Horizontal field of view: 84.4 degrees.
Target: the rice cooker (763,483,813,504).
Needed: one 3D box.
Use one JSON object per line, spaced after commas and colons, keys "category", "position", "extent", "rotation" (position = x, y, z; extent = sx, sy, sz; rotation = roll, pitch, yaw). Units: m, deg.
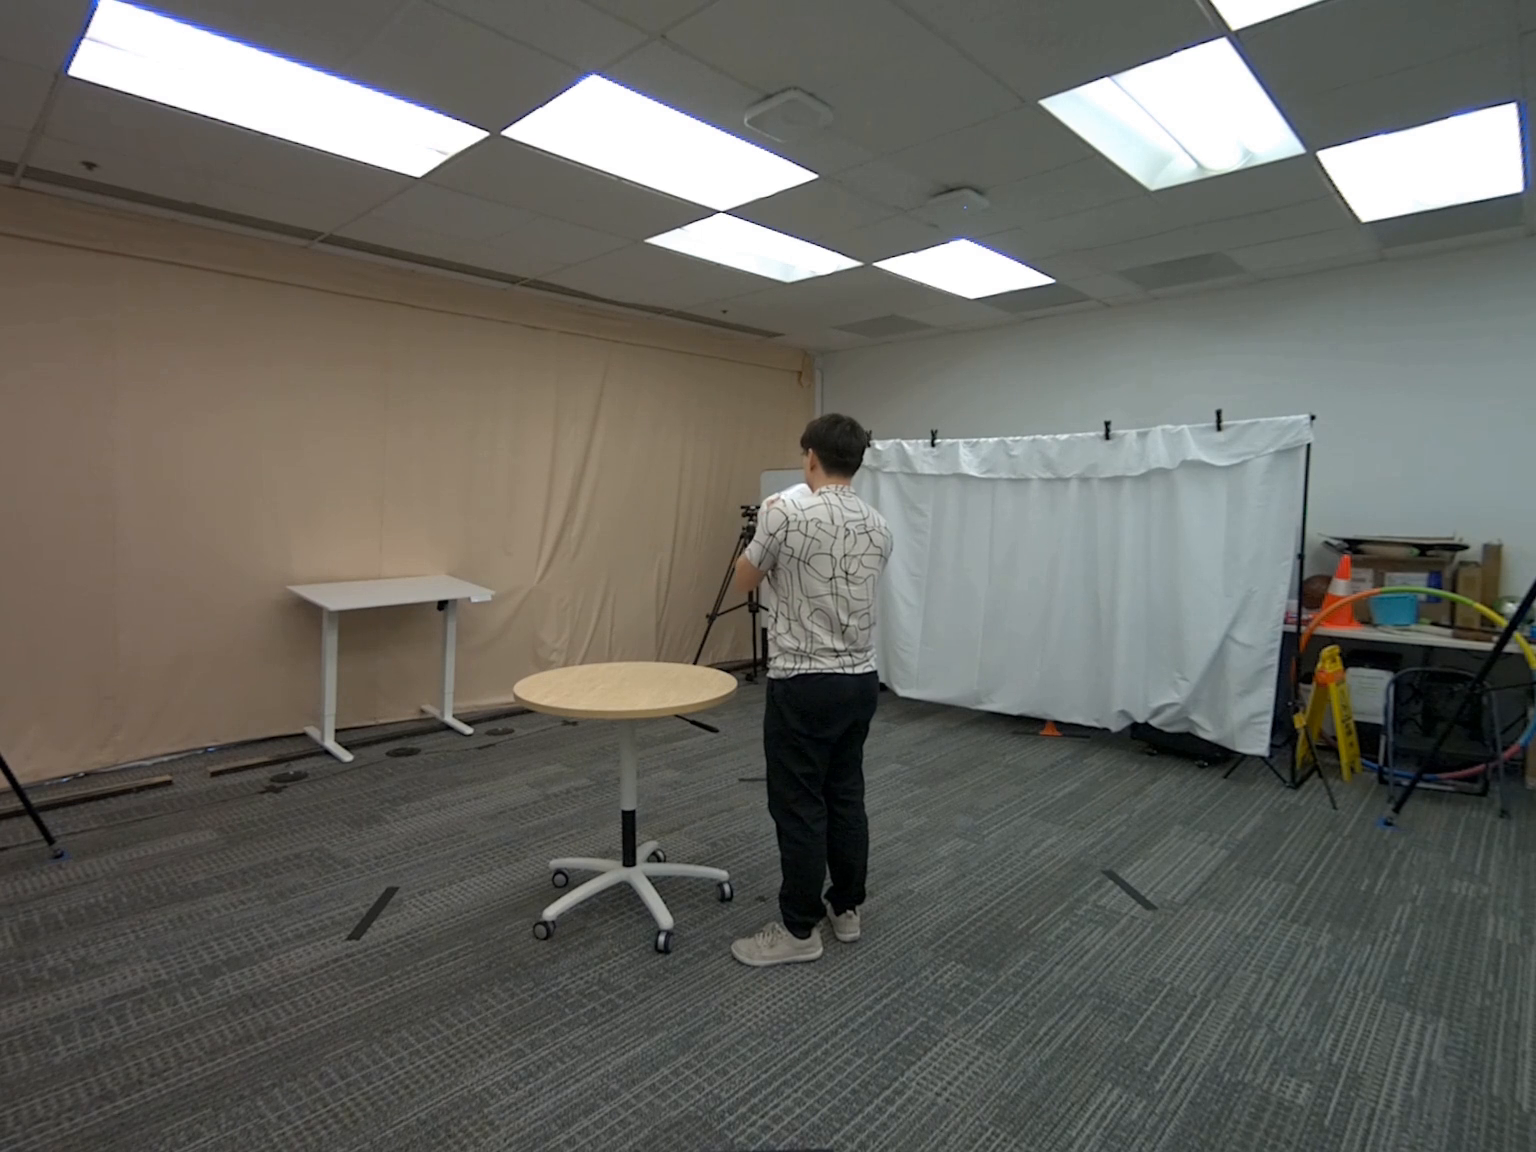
{"category": "rice cooker", "position": [0.094, -0.207, 3.037], "extent": [0.221, 0.221, 0.229], "rotation": [-35, -2, 39]}
